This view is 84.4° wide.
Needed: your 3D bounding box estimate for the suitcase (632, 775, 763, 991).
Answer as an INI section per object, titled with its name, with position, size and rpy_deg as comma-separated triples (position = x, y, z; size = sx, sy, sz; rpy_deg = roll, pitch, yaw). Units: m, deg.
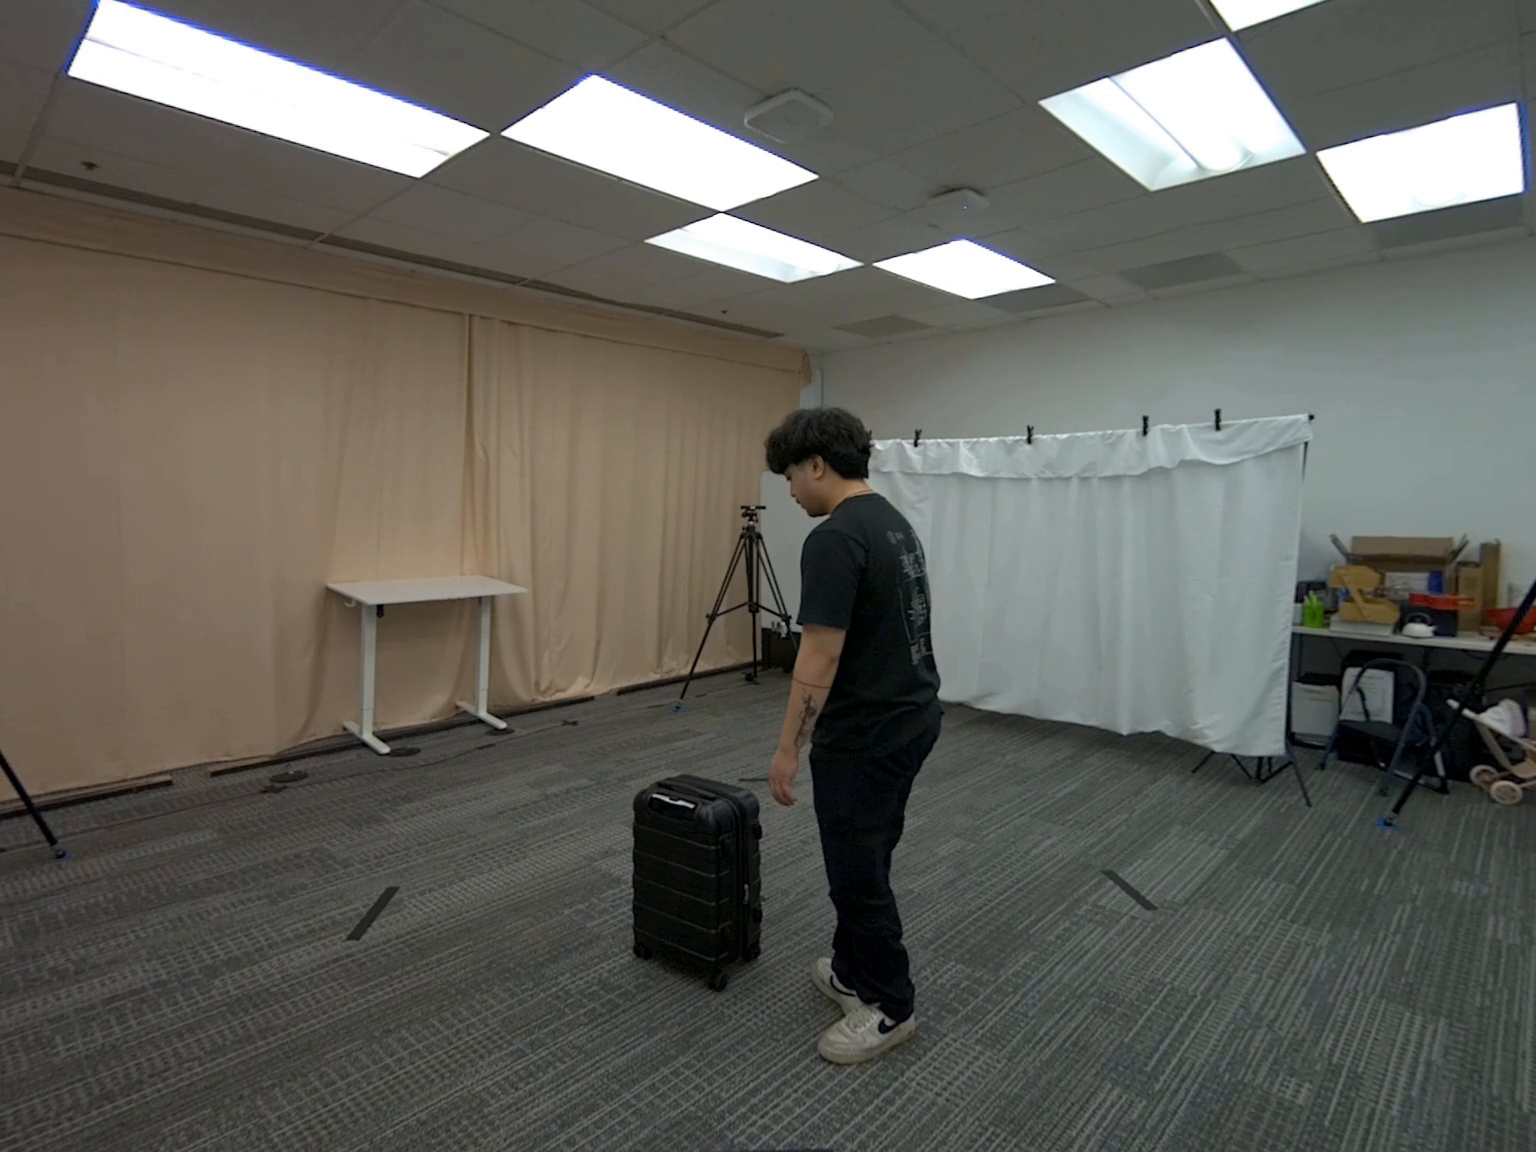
[suitcase]
position = -0.219, 0.905, 2.570
size = 0.387, 0.548, 0.241
rpy_deg = 2, 4, 36
